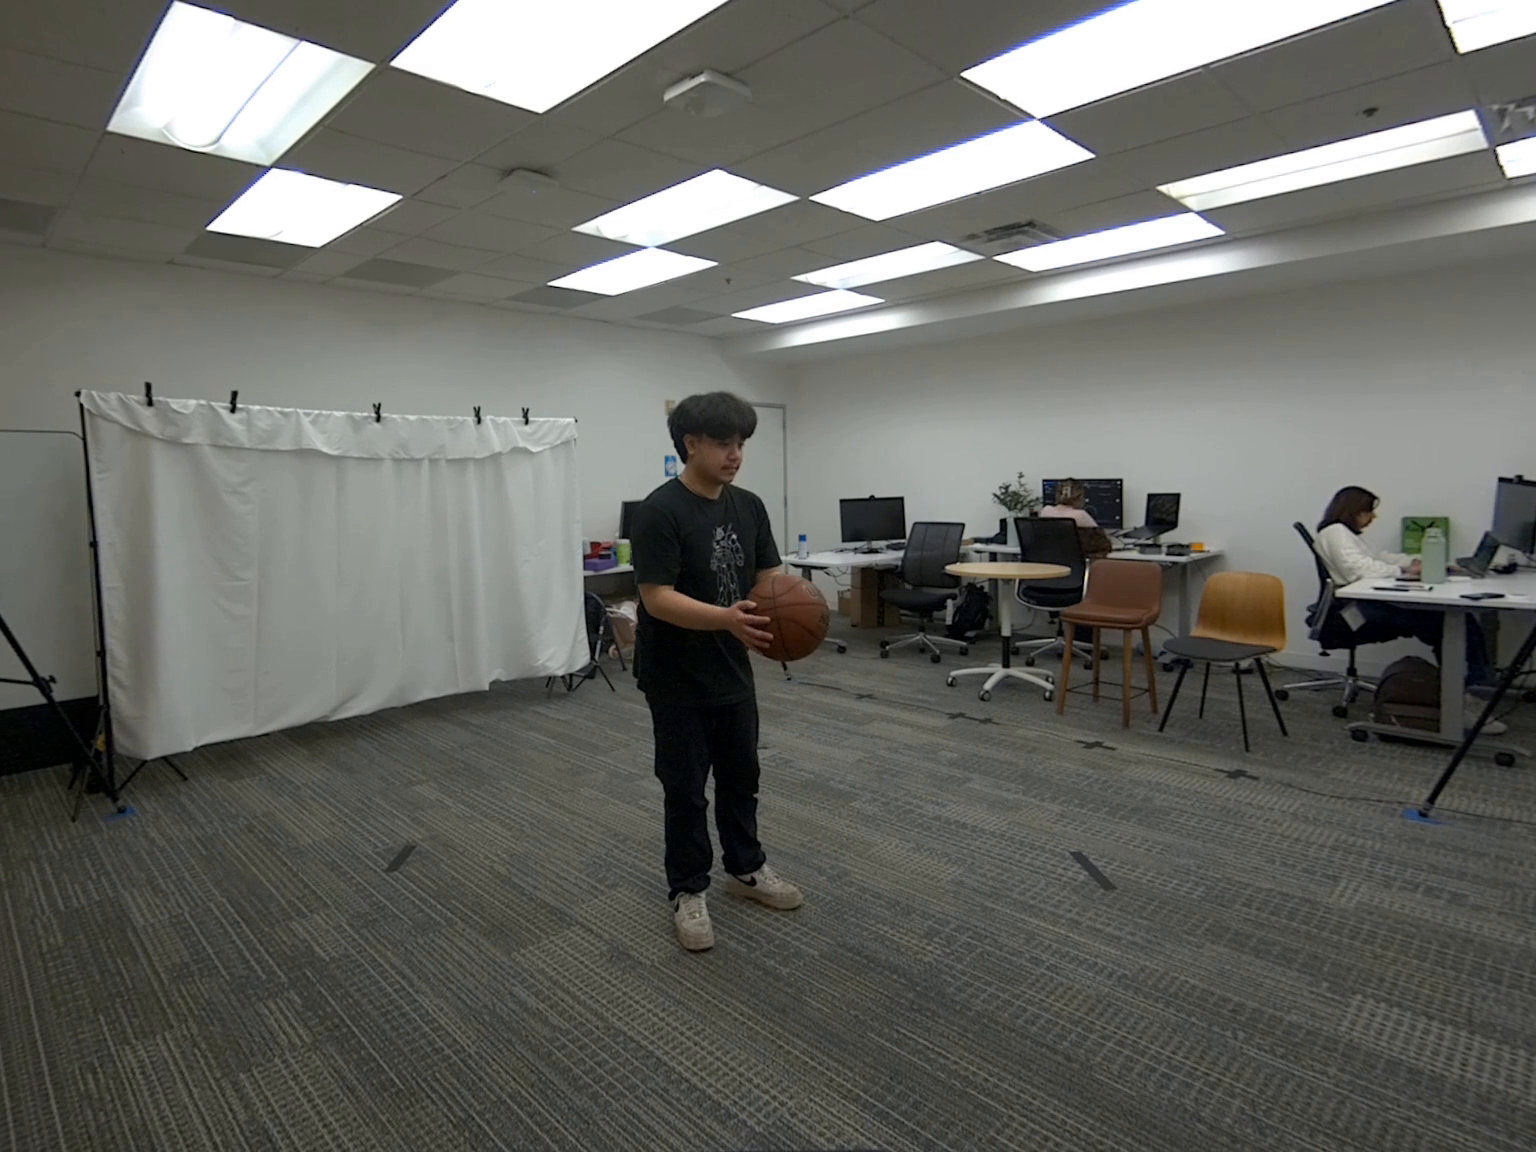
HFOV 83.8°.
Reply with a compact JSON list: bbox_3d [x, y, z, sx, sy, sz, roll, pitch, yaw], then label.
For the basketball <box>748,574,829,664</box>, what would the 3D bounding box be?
[{"bbox_3d":[0.036,0.118,2.333,0.236,0.235,0.237,-1,5,-2],"label":"basketball"}]
